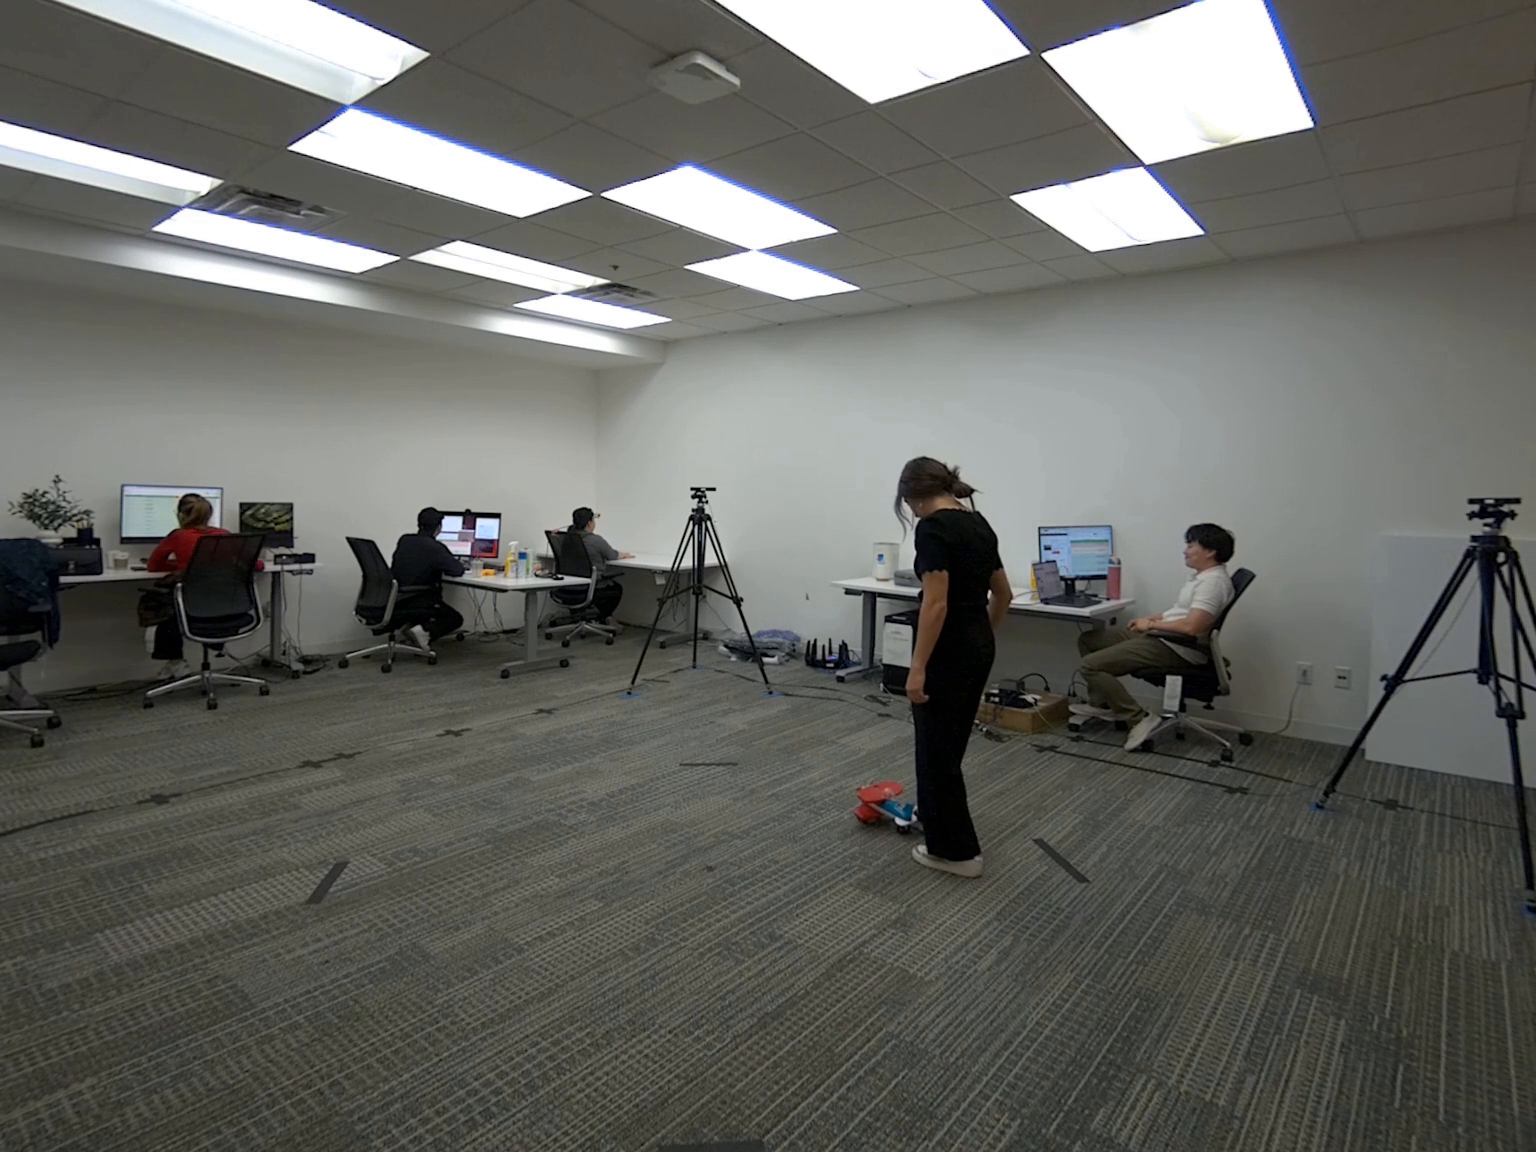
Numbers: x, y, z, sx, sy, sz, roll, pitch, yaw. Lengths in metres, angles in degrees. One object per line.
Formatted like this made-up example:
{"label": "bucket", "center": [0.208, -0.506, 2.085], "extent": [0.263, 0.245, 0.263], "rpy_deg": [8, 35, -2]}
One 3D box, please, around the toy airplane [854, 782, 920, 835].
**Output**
{"label": "toy airplane", "center": [0.502, 0.962, 3.555], "extent": [0.264, 0.156, 0.247], "rpy_deg": [1, 5, 18]}
